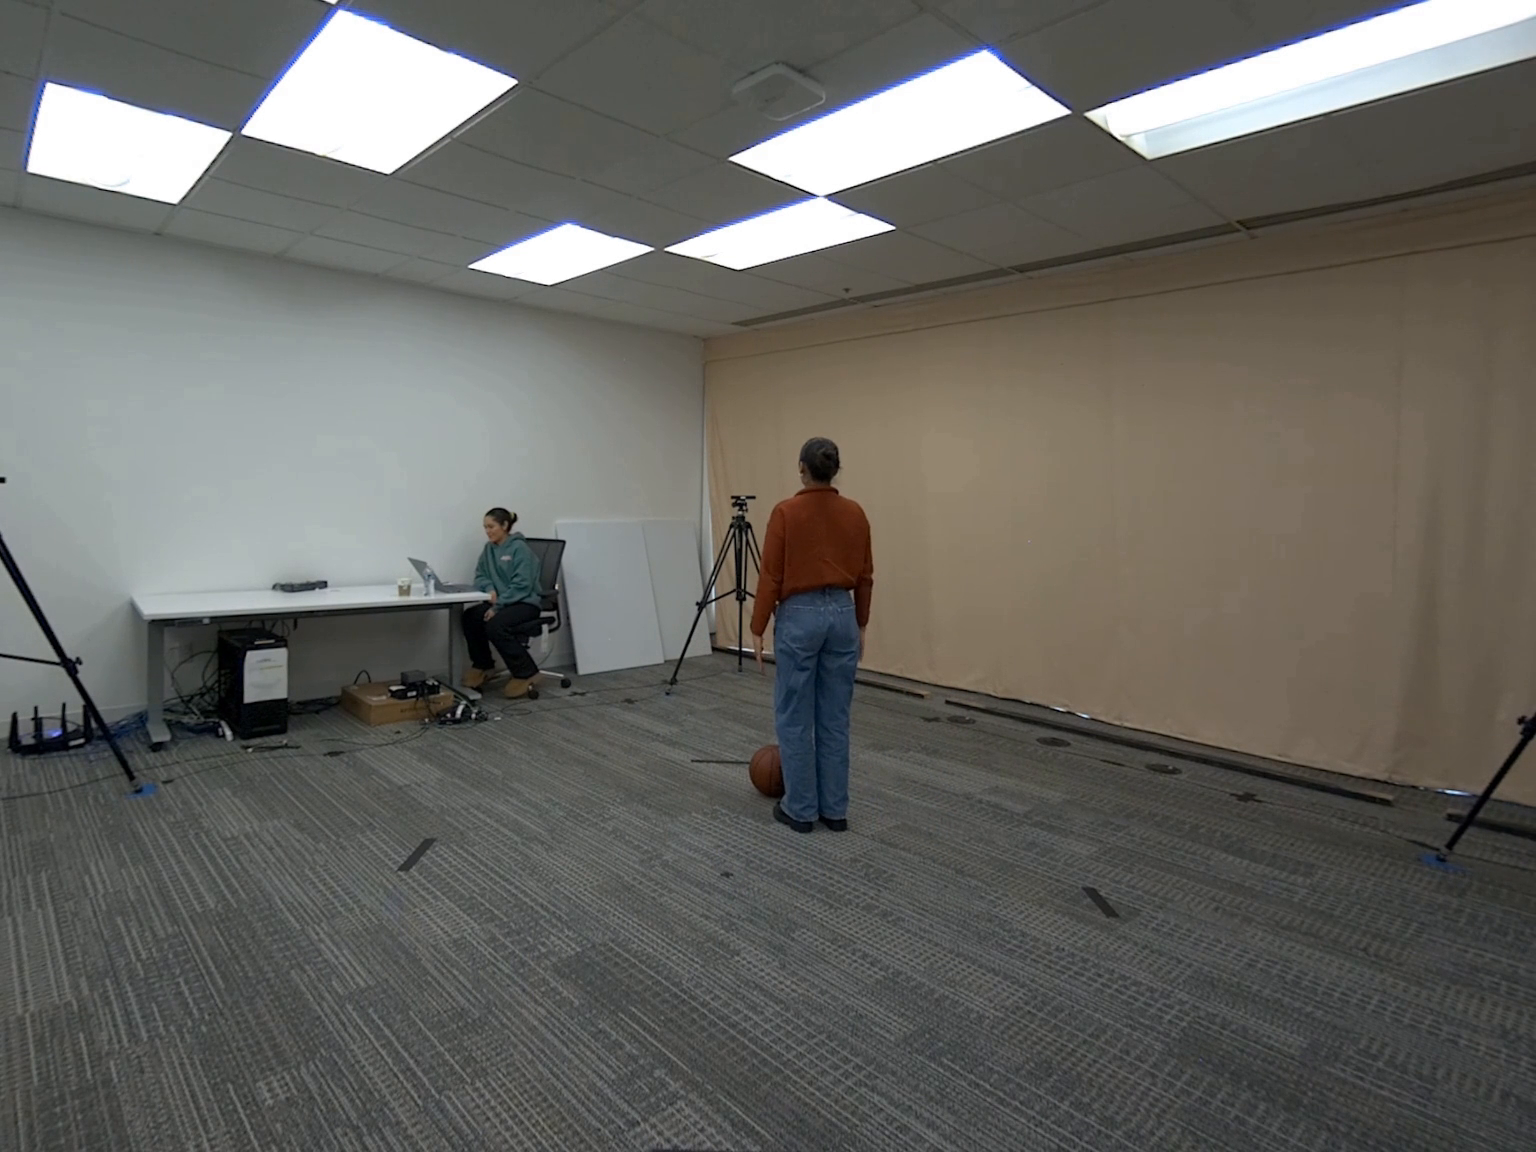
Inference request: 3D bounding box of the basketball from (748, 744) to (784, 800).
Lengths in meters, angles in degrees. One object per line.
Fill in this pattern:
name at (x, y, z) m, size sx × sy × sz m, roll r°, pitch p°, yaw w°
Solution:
basketball at (0.018, 0.910, 3.963) m, size 0.236 × 0.235 × 0.237 m, roll 1°, pitch 4°, yaw -1°
